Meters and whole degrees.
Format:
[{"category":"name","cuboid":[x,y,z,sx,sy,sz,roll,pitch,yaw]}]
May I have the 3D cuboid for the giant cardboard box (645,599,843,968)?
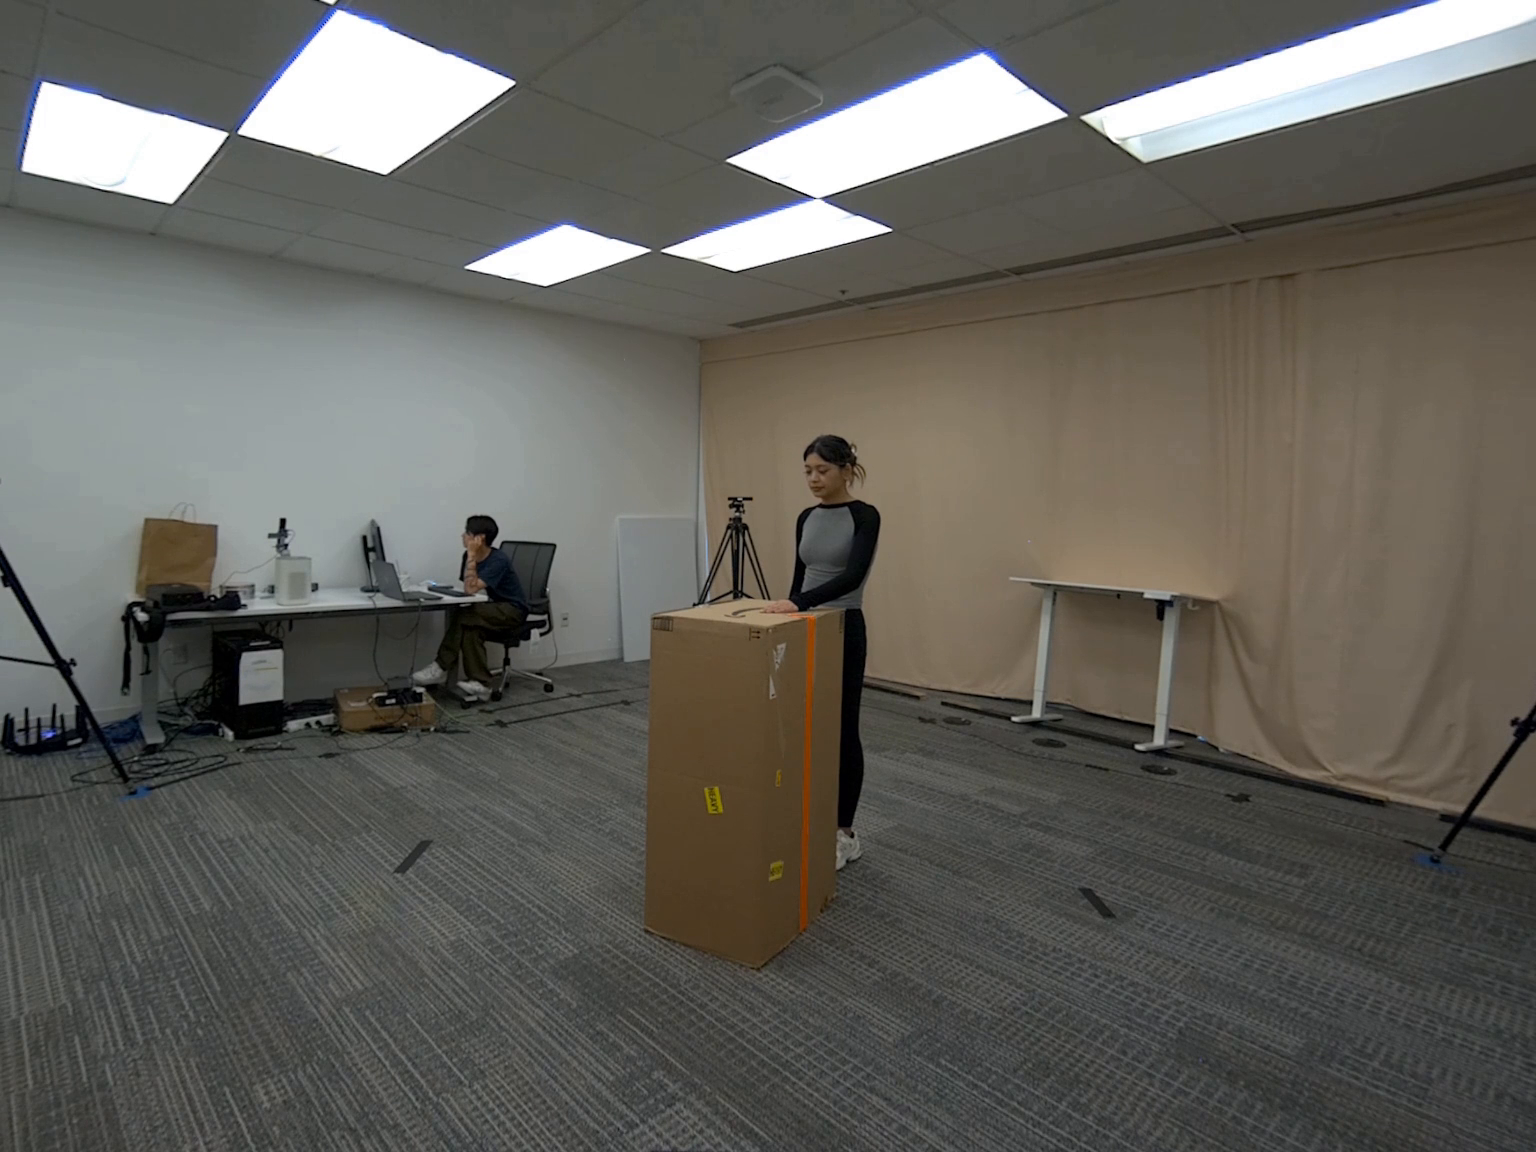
[{"category":"giant cardboard box","cuboid":[-0.070,0.631,2.805,0.456,1.025,0.573,2,3,29]}]
